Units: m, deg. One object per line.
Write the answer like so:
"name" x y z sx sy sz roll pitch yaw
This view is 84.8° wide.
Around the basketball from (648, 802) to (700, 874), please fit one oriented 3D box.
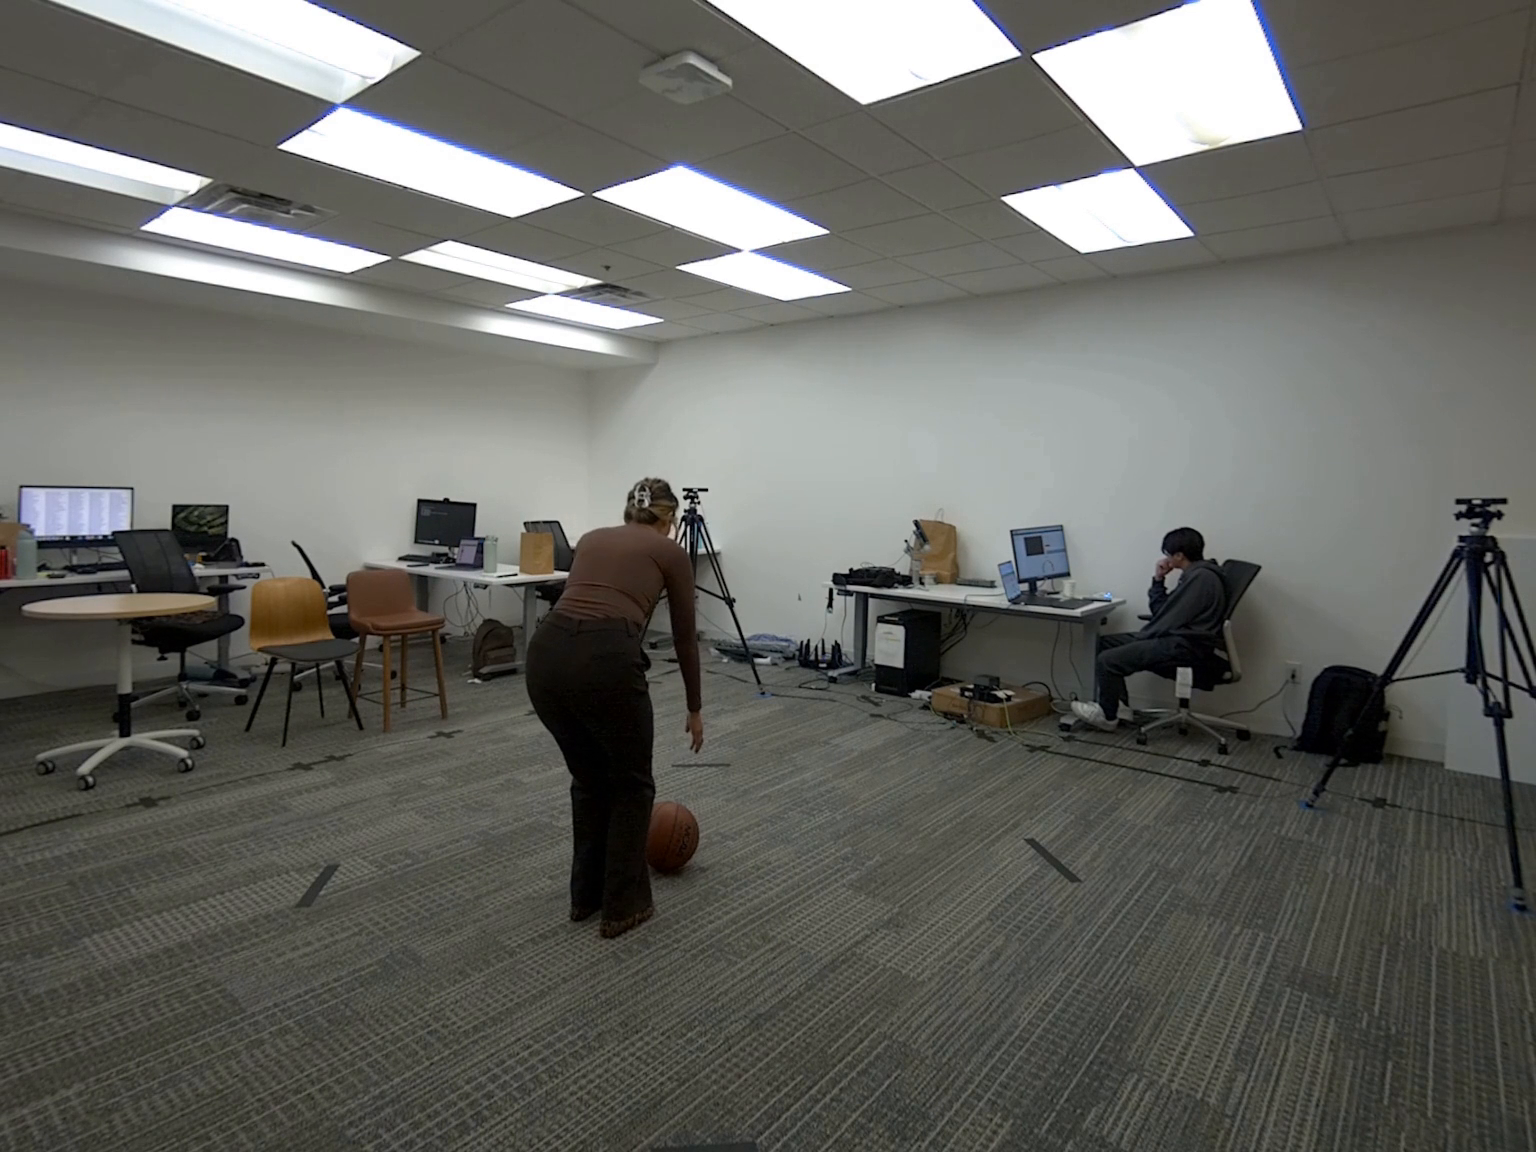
"basketball" -0.377 0.945 3.116 0.235 0.235 0.237 1 4 -2
